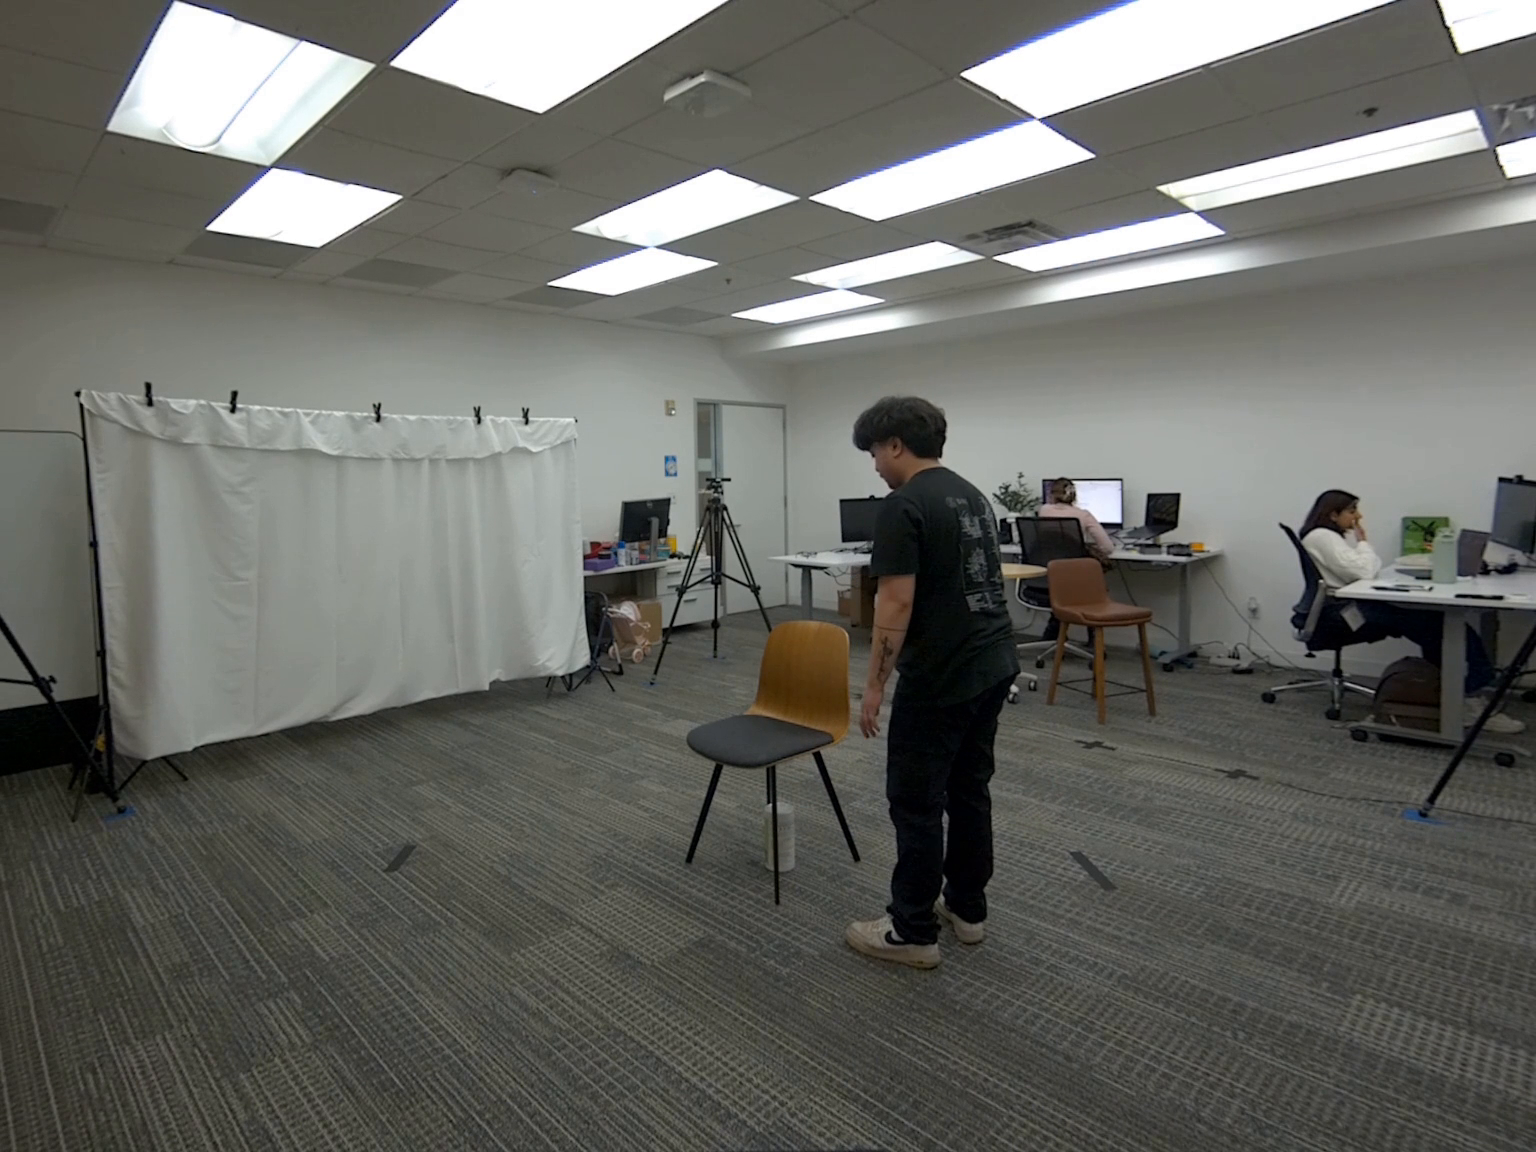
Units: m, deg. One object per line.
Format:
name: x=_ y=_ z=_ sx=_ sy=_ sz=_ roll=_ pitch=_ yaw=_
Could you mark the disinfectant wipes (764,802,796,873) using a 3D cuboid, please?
disinfectant wipes: x=0.052 y=0.953 z=3.076 sx=0.118 sy=0.217 sz=0.118 roll=0 pitch=3 yaw=-2
